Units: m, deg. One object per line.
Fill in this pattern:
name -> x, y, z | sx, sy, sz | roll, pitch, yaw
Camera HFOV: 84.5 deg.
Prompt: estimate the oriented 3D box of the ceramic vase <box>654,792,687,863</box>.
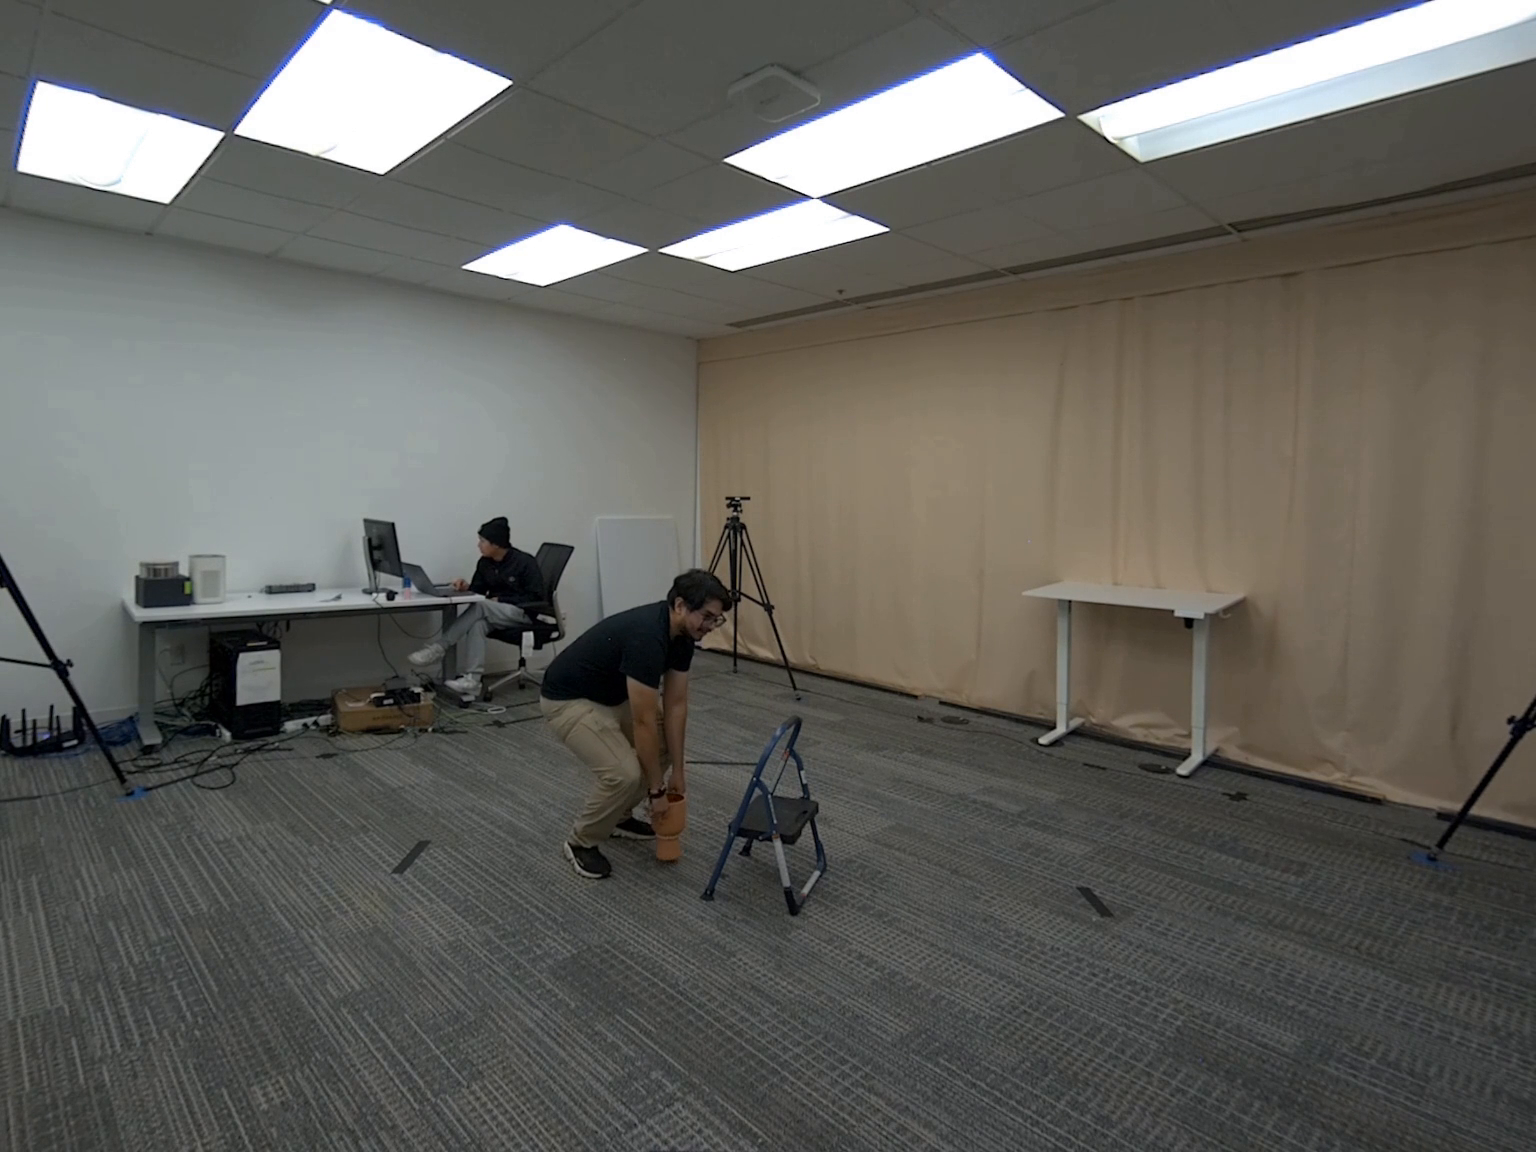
ceramic vase -> -0.386, 0.943, 3.201 | 0.155, 0.219, 0.137 | -2, 2, -33
